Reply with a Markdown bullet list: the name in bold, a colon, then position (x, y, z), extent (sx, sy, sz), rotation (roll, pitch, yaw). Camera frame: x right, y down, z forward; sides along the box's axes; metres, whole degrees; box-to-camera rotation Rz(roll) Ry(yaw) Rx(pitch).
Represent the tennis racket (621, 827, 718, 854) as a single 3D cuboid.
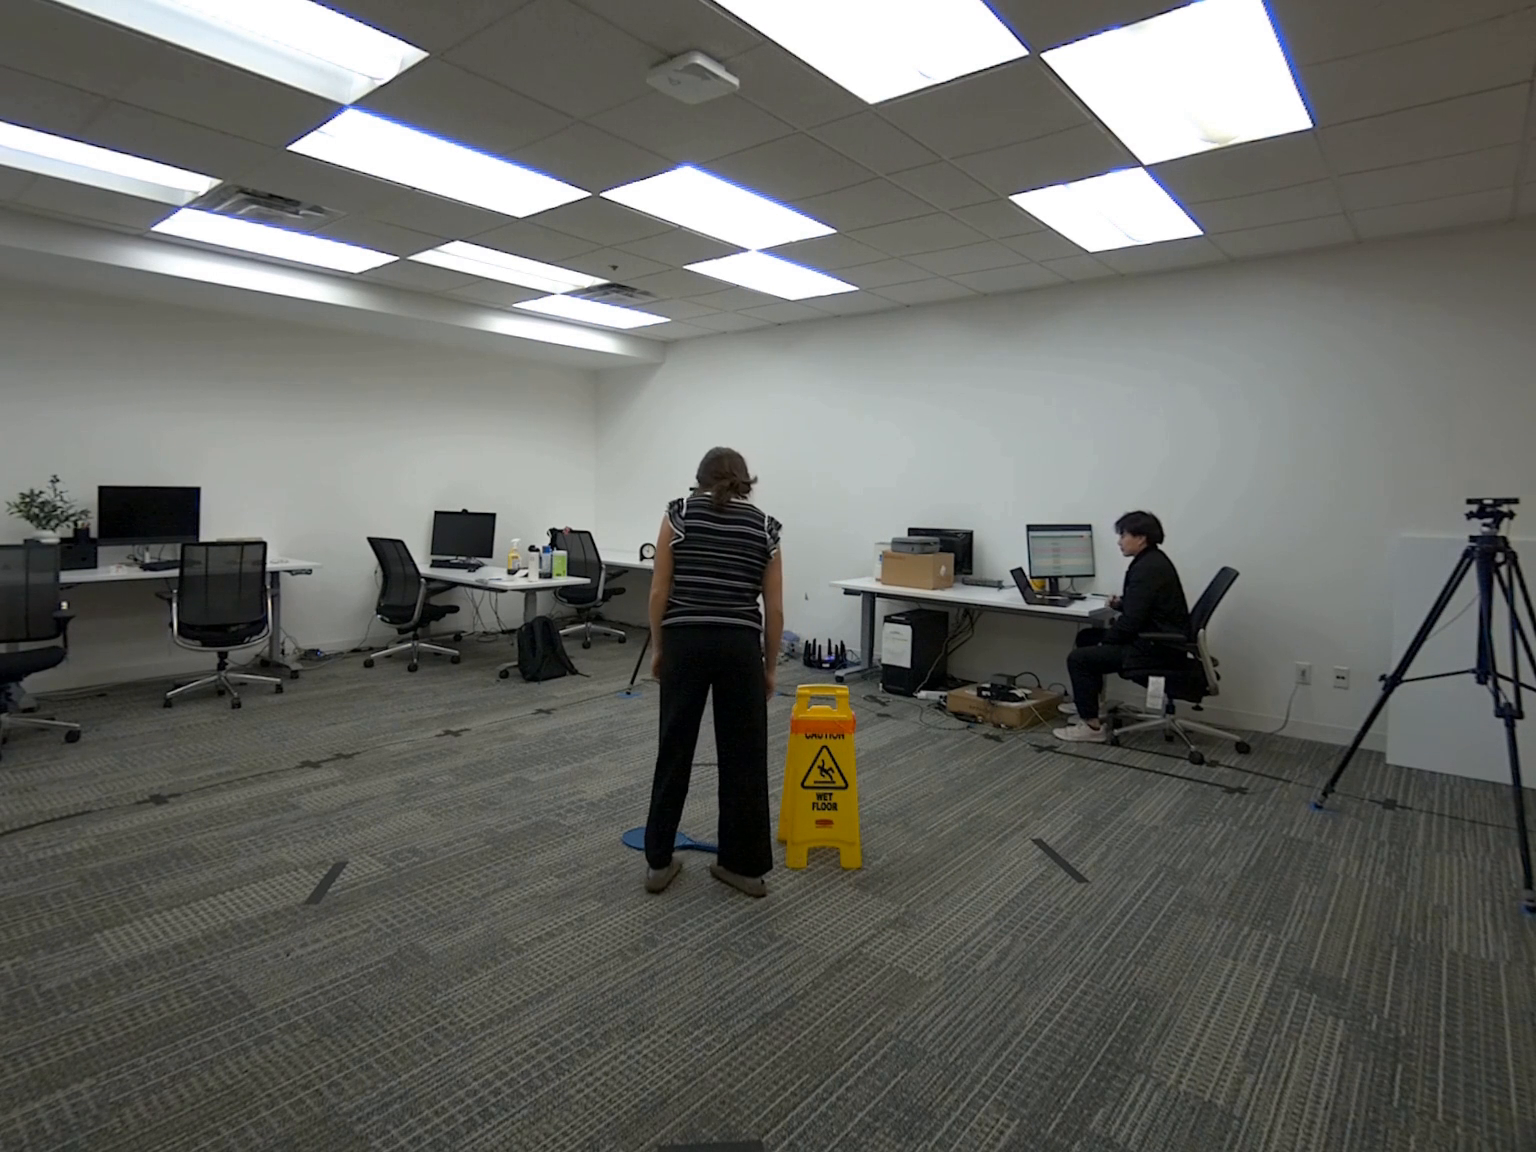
- **tennis racket**: position (-0.378, 1.029, 3.318), extent (0.442, 0.031, 0.210), rotation (1, 6, 20)
